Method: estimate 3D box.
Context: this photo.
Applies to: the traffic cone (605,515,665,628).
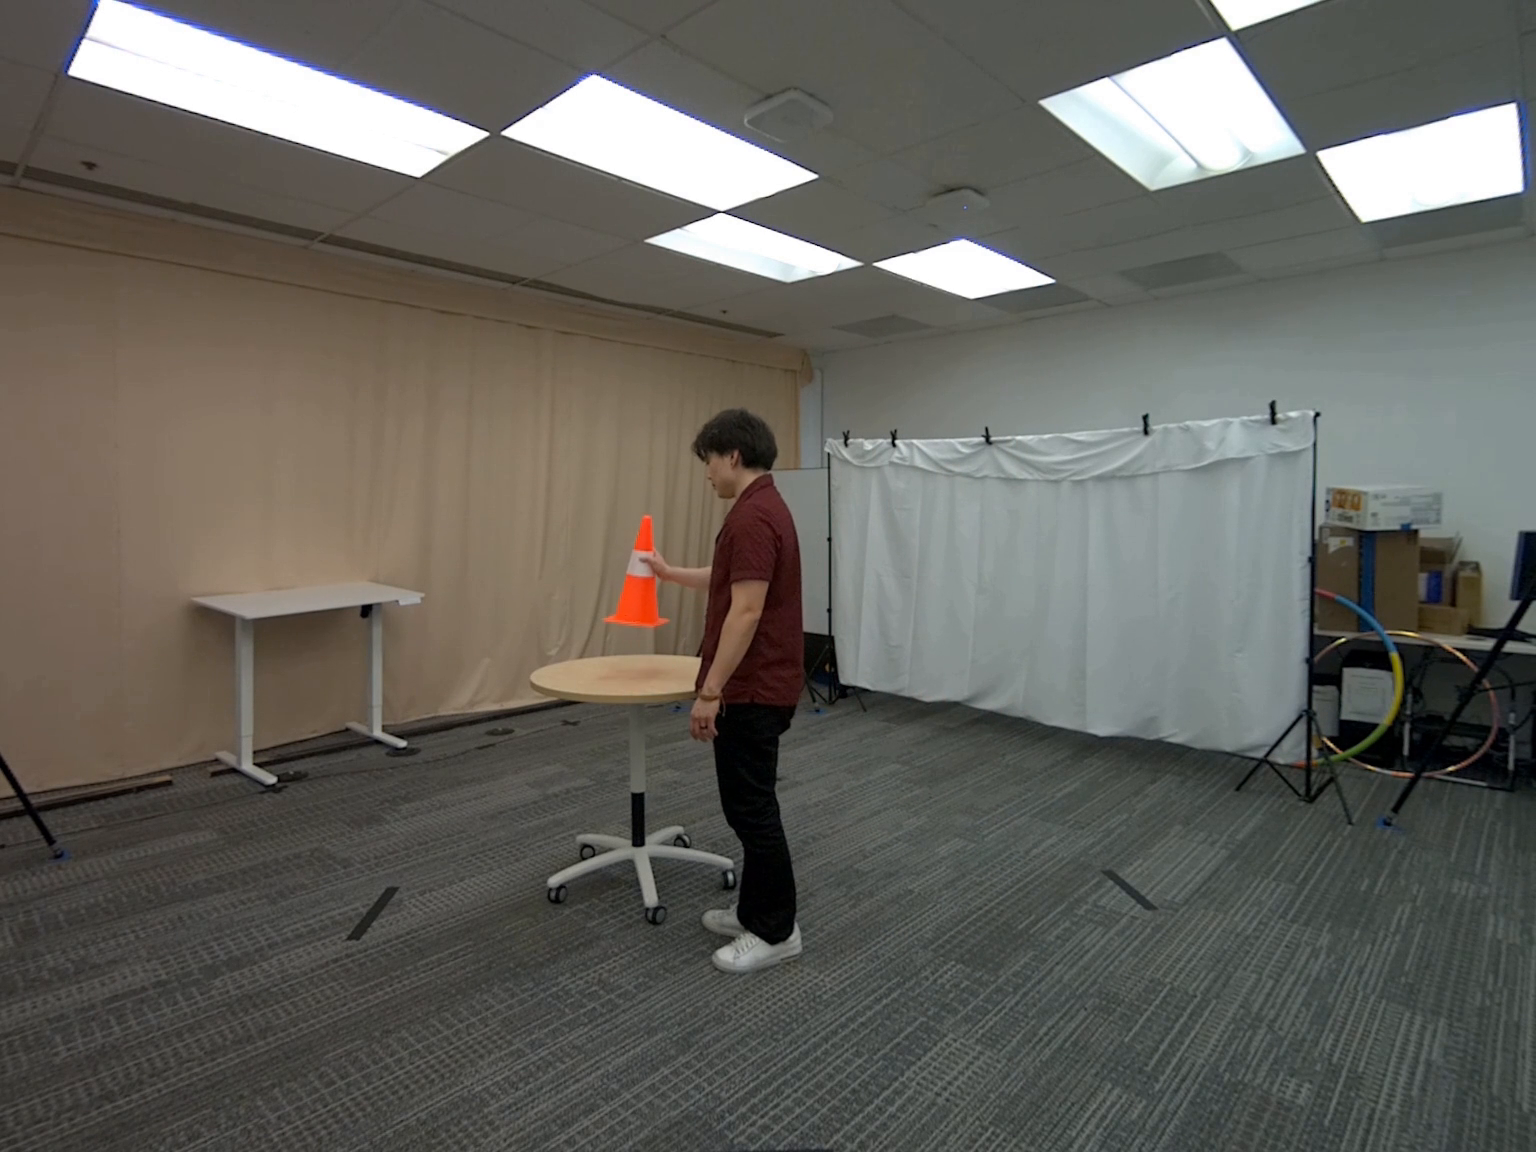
[{"bbox_3d":[-0.468,-0.013,3.058,0.209,0.383,0.199,6,2,18],"label":"traffic cone"}]
